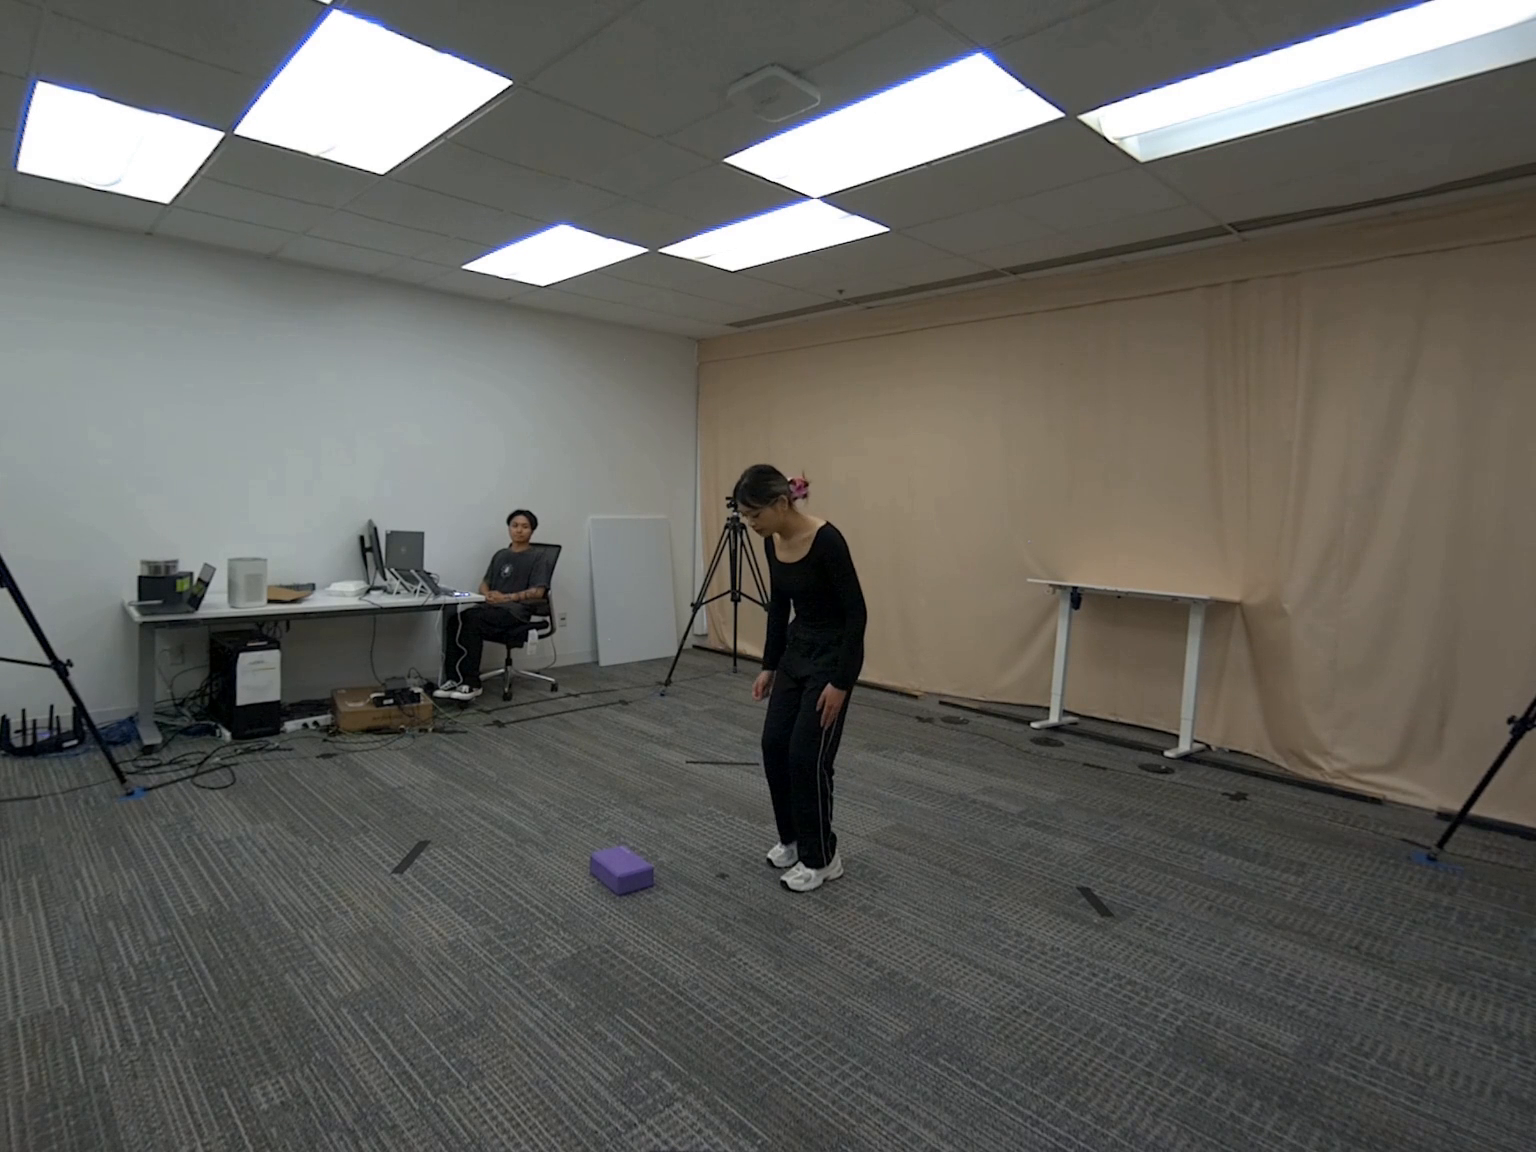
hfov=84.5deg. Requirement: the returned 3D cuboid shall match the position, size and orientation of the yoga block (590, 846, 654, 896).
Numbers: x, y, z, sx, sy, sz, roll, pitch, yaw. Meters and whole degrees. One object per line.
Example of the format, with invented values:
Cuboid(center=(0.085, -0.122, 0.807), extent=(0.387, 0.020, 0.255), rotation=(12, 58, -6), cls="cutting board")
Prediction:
Cuboid(center=(-0.538, 1.062, 3.049), extent=(0.146, 0.076, 0.235), rotation=(-3, 6, -37), cls="yoga block")
